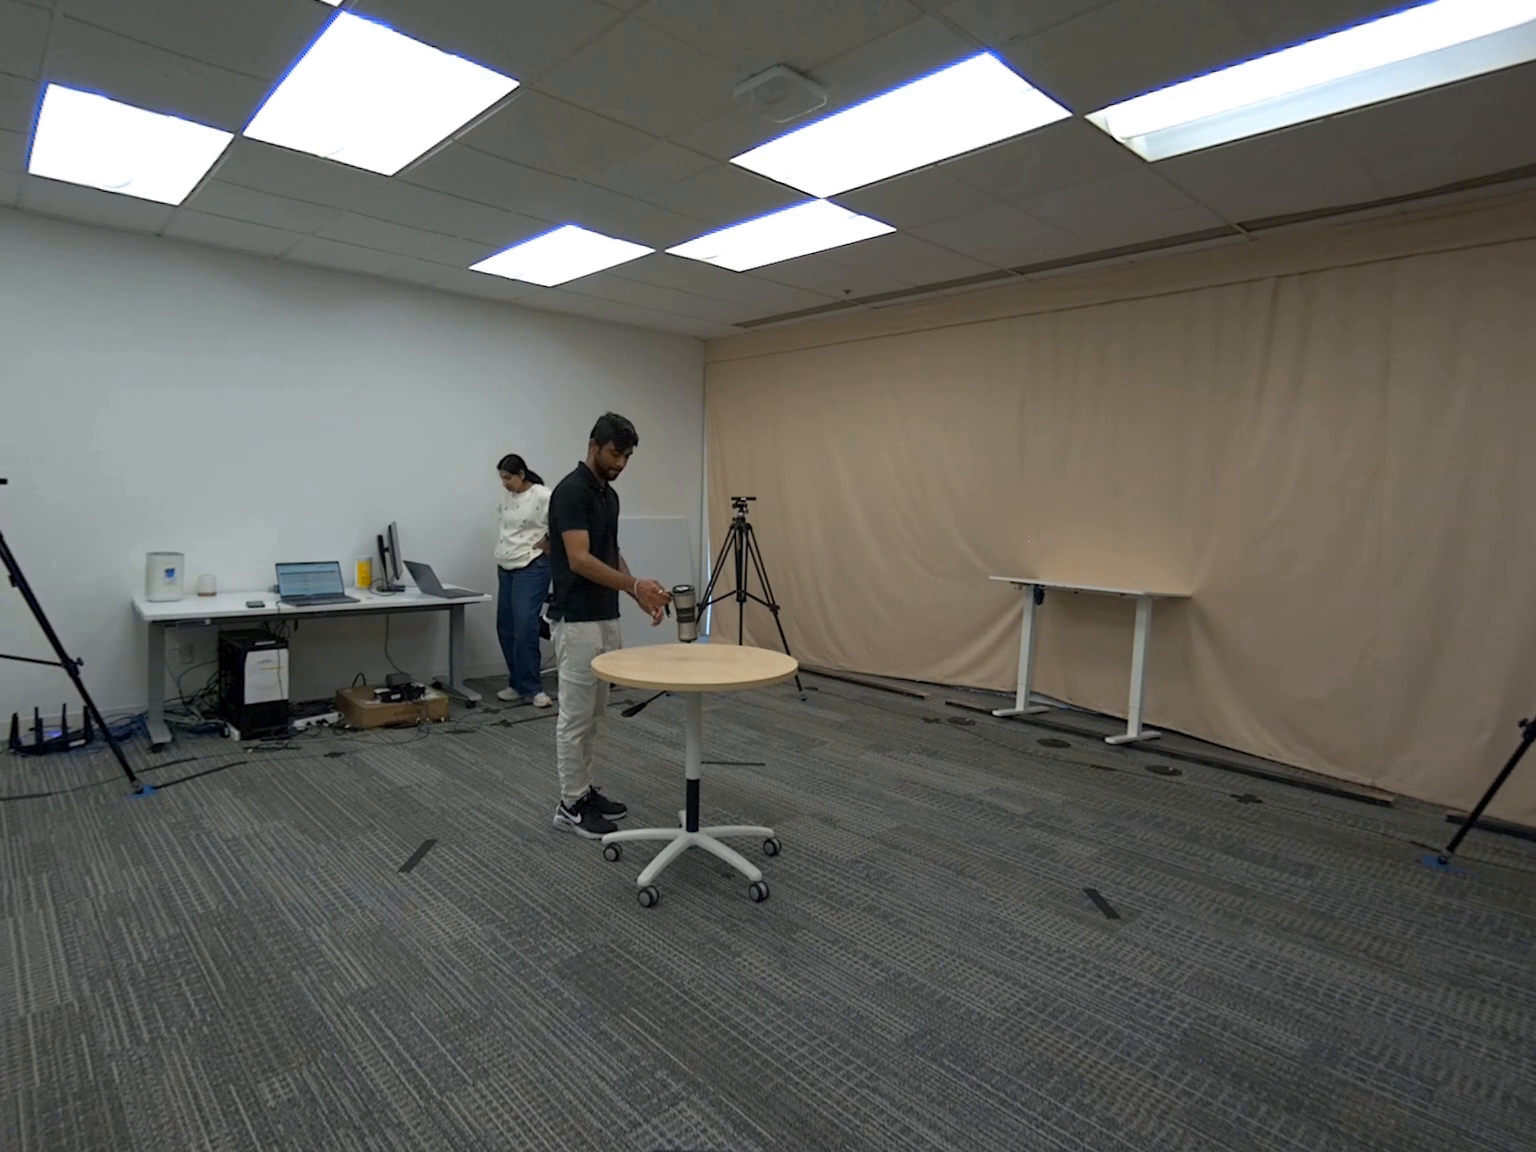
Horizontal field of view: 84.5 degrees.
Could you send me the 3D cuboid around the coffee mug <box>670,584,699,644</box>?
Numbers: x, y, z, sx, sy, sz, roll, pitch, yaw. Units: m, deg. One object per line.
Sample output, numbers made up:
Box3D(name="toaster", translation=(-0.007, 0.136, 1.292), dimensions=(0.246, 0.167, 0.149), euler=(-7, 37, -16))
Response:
Box3D(name="coffee mug", translation=(-0.339, 0.139, 3.177), dimensions=(0.086, 0.201, 0.125), euler=(-15, 17, -40))
